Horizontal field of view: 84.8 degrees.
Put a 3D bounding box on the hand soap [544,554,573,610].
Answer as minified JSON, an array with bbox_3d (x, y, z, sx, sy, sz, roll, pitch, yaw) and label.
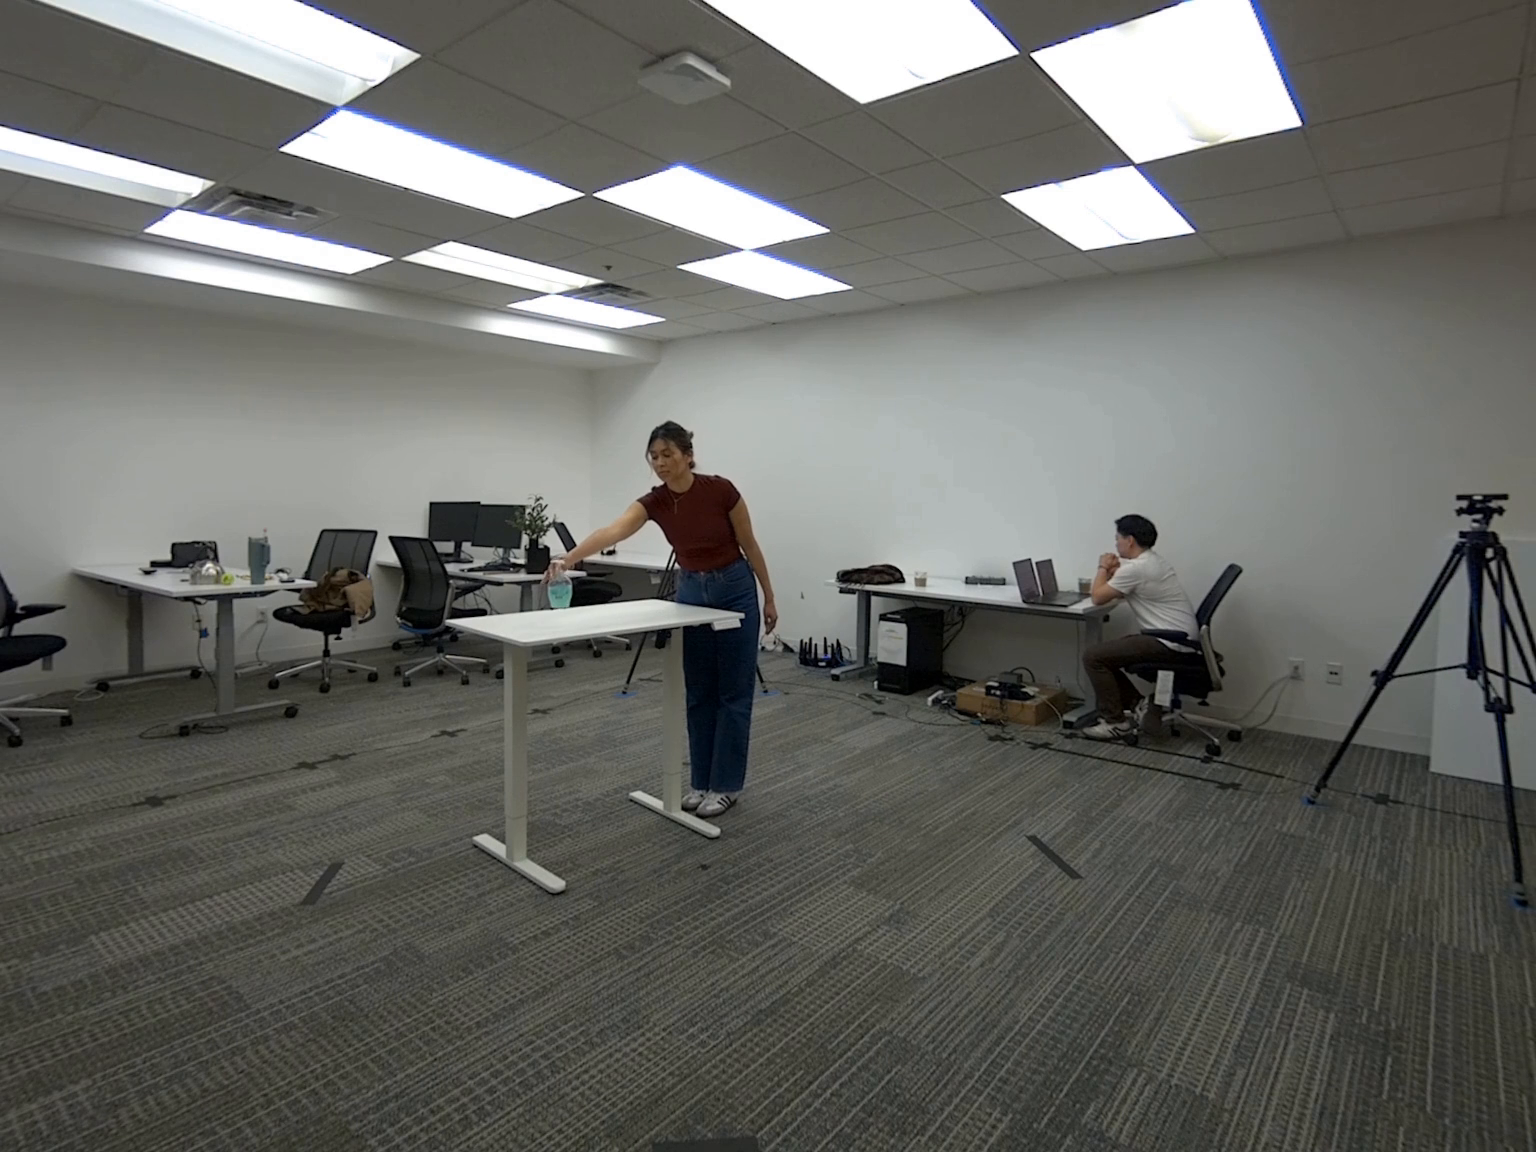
[{"bbox_3d":[-0.744,0.026,3.017,0.083,0.168,0.044,1,2,-11],"label":"hand soap"}]
